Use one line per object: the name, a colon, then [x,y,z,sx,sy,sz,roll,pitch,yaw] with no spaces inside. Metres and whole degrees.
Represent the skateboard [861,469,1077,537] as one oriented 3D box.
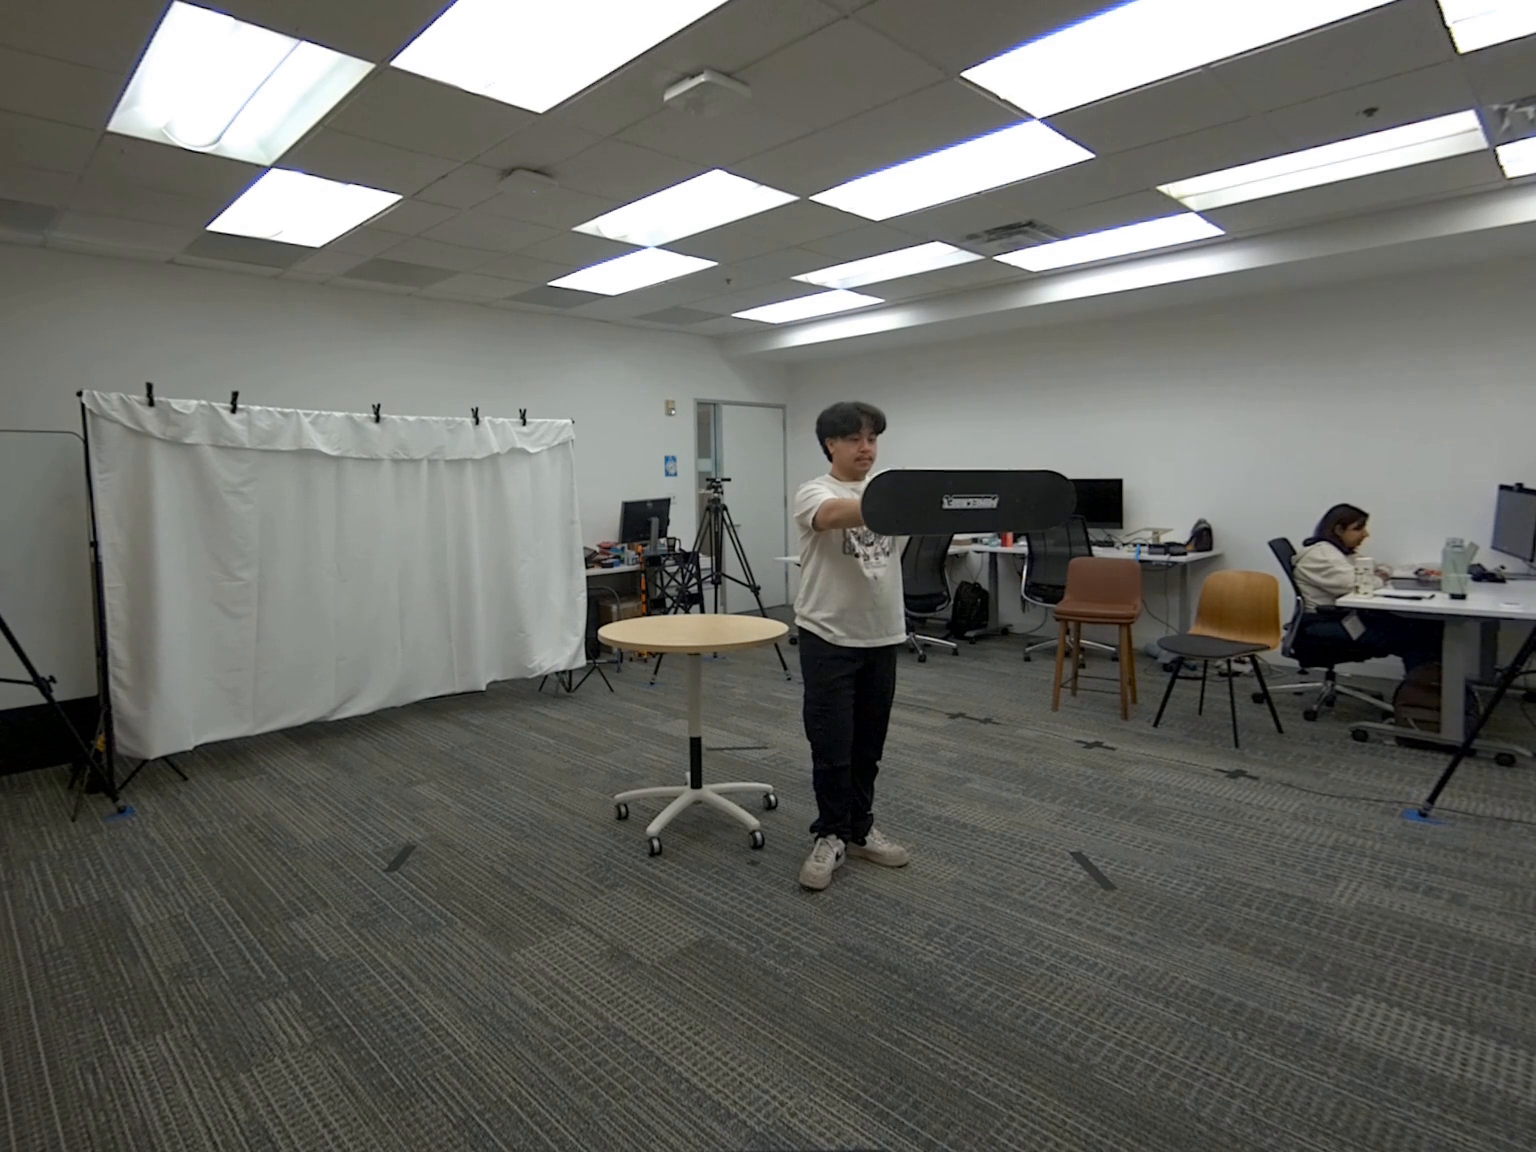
skateboard: [0.574,-0.219,2.559,0.770,0.192,0.113,-3,8,-23]
